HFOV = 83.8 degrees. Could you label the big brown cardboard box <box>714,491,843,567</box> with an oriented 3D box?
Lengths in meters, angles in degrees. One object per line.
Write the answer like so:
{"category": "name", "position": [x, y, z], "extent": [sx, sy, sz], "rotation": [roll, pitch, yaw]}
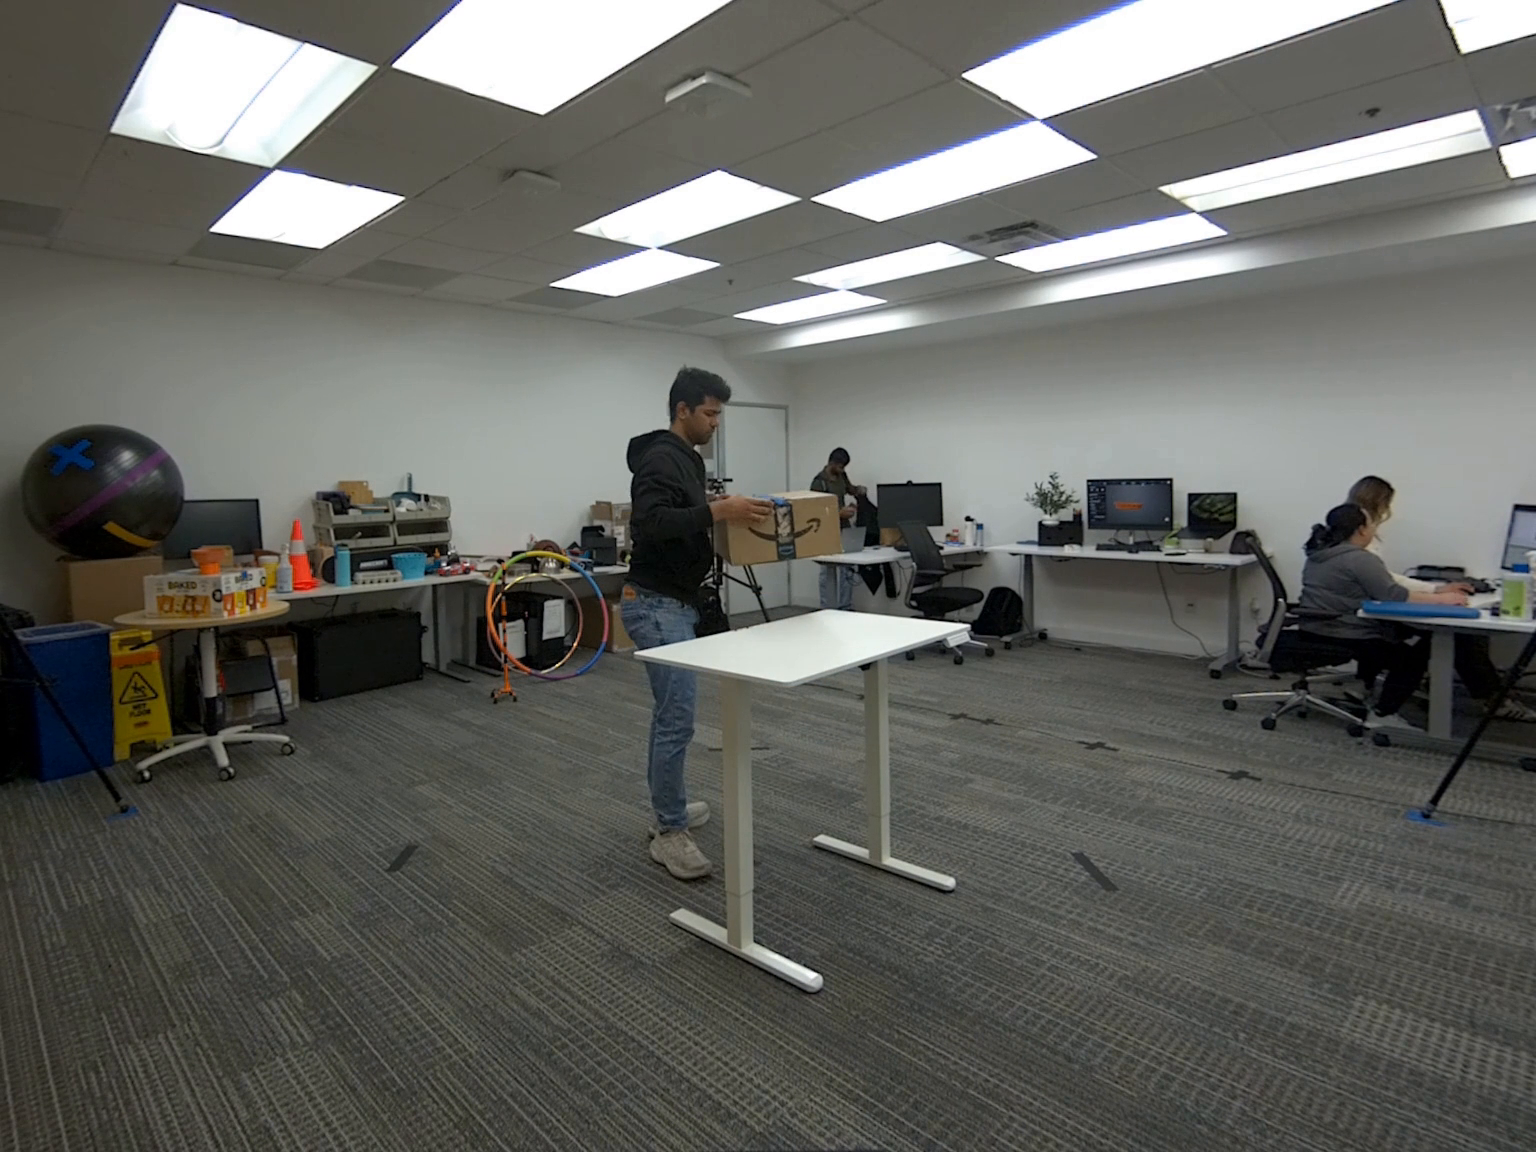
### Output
{"category": "big brown cardboard box", "position": [0.009, -0.190, 3.359], "extent": [0.415, 0.232, 0.596], "rotation": [-7, 7, -7]}
